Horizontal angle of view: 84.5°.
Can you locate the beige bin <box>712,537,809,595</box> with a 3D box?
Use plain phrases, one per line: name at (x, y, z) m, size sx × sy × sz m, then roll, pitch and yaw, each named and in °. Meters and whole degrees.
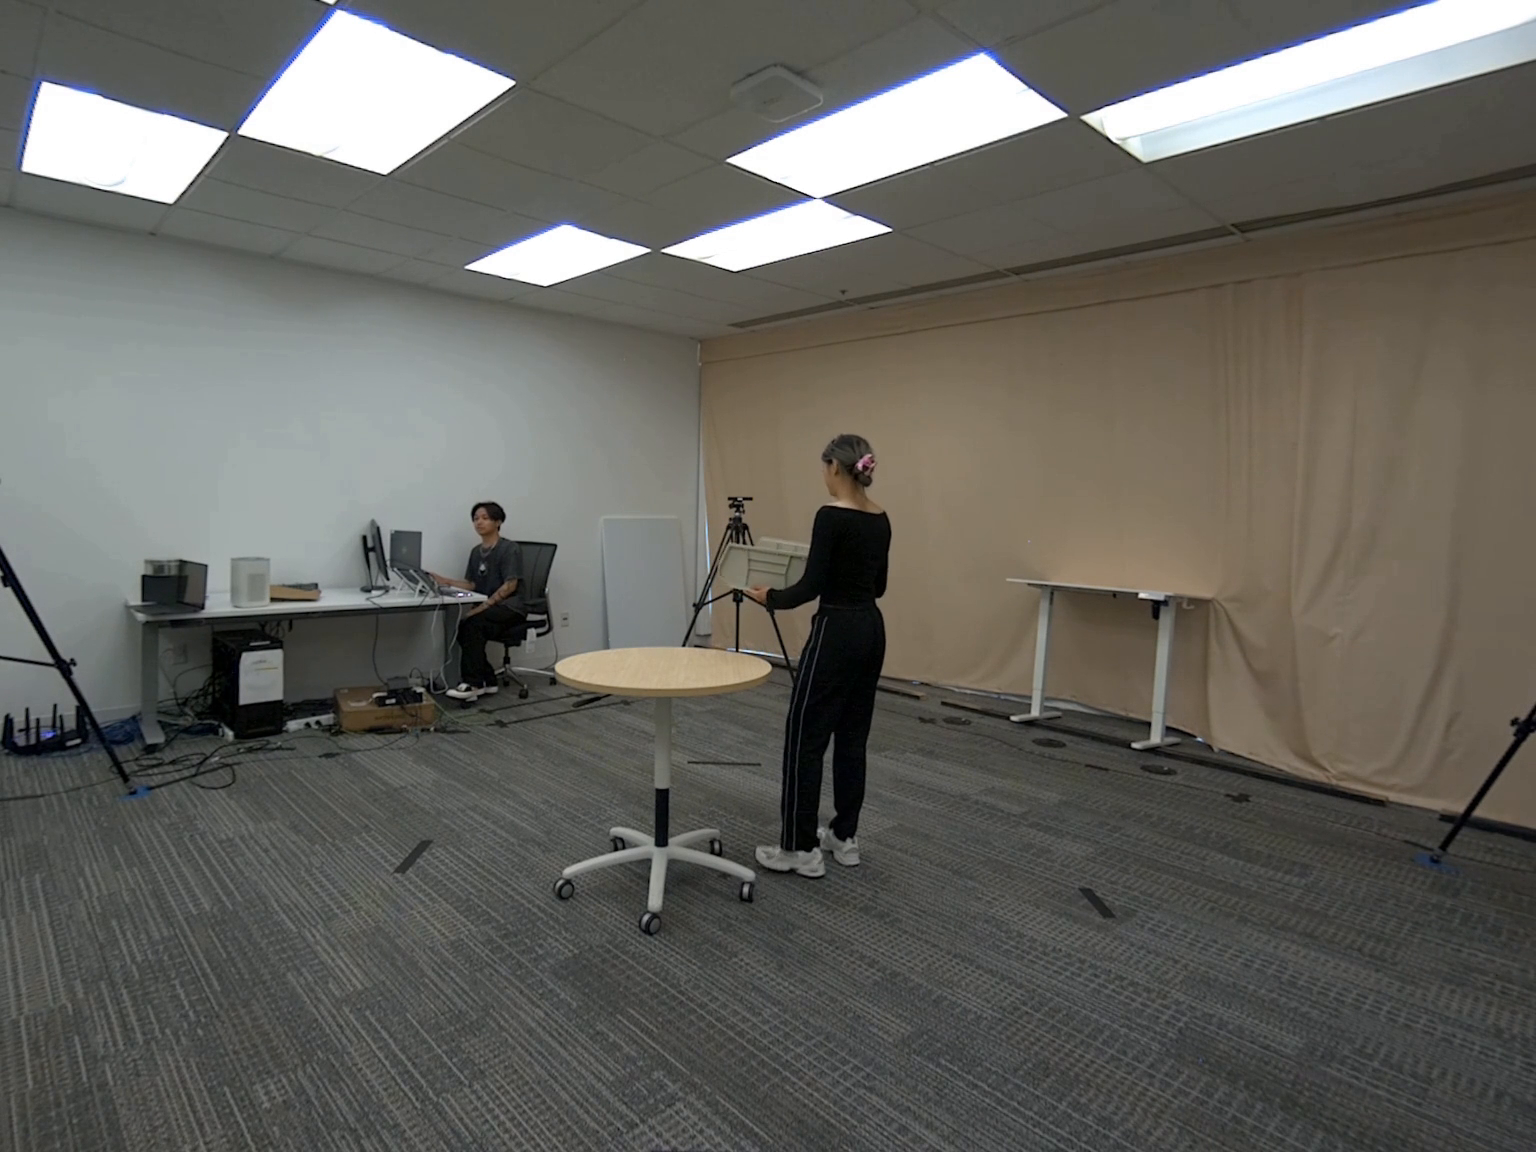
beige bin at (0.034, -0.035, 3.515) m, size 0.383 × 0.188 × 0.417 m, roll 10°, pitch 8°, yaw 17°
